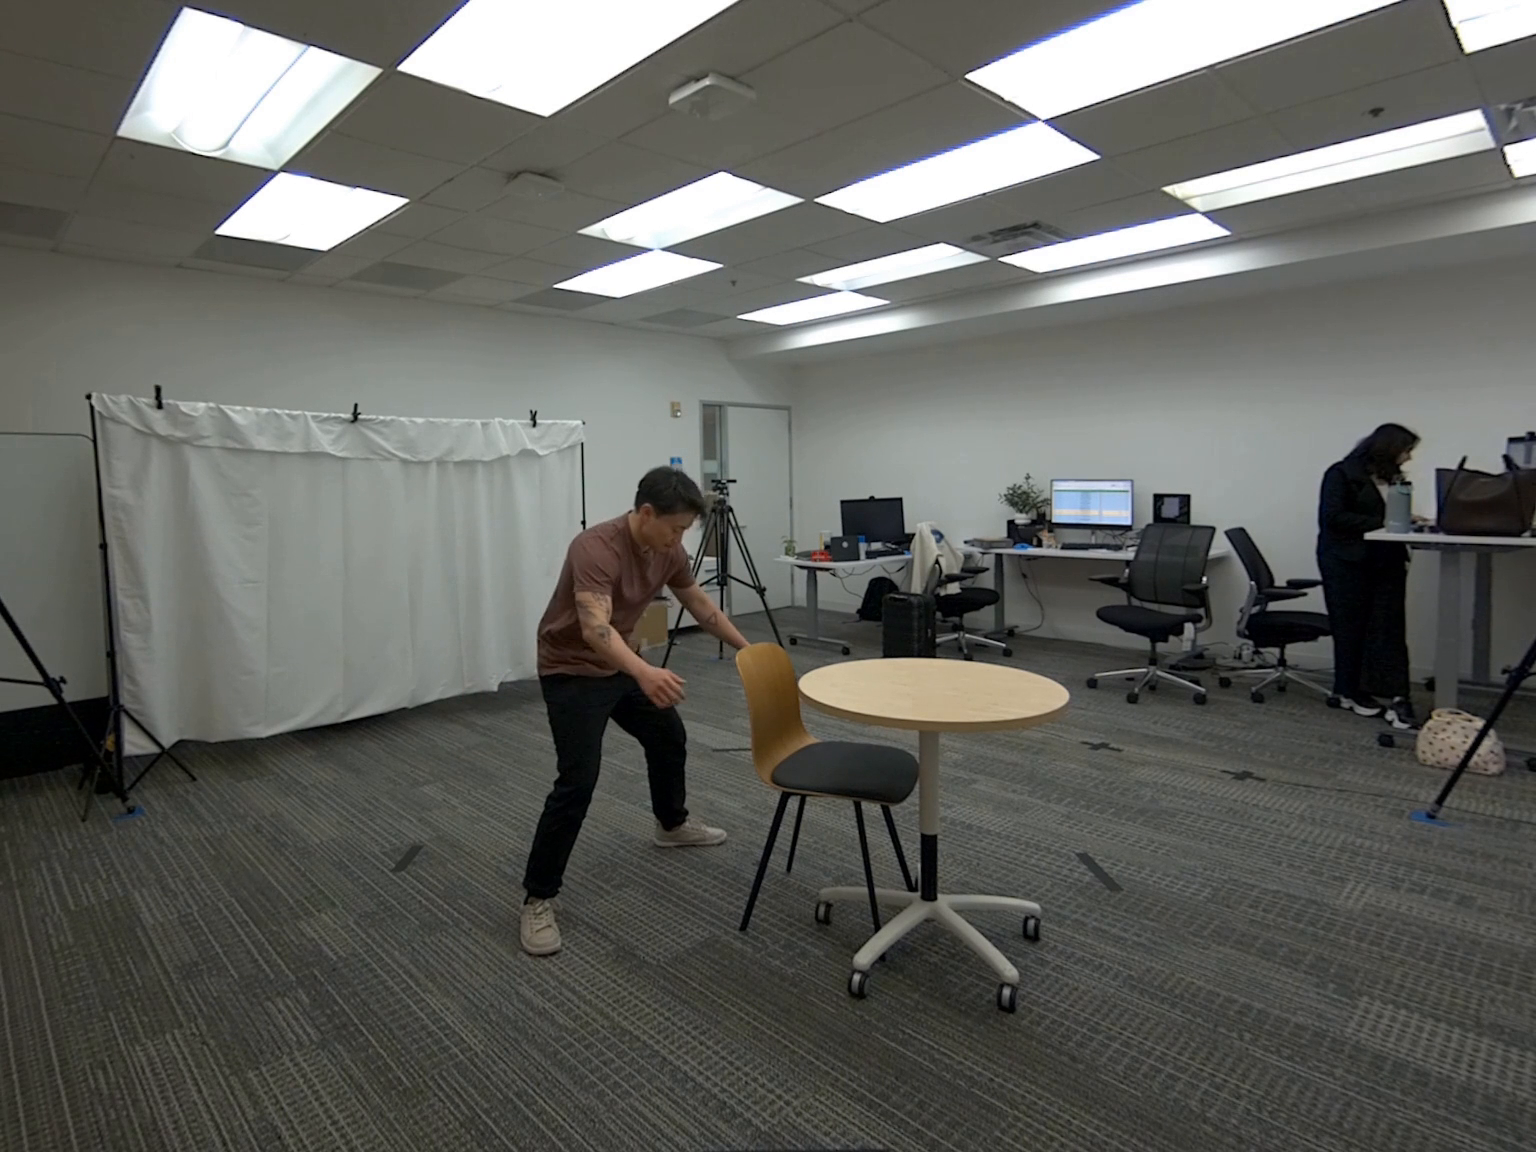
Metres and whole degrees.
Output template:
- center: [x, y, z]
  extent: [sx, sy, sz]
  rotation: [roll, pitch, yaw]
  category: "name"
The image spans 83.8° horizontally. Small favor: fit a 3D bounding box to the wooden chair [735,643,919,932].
- center: [0.200, 0.656, 2.731]
  extent: [0.534, 0.876, 0.469]
  rotation: [-4, 2, 24]
  category: "wooden chair"
